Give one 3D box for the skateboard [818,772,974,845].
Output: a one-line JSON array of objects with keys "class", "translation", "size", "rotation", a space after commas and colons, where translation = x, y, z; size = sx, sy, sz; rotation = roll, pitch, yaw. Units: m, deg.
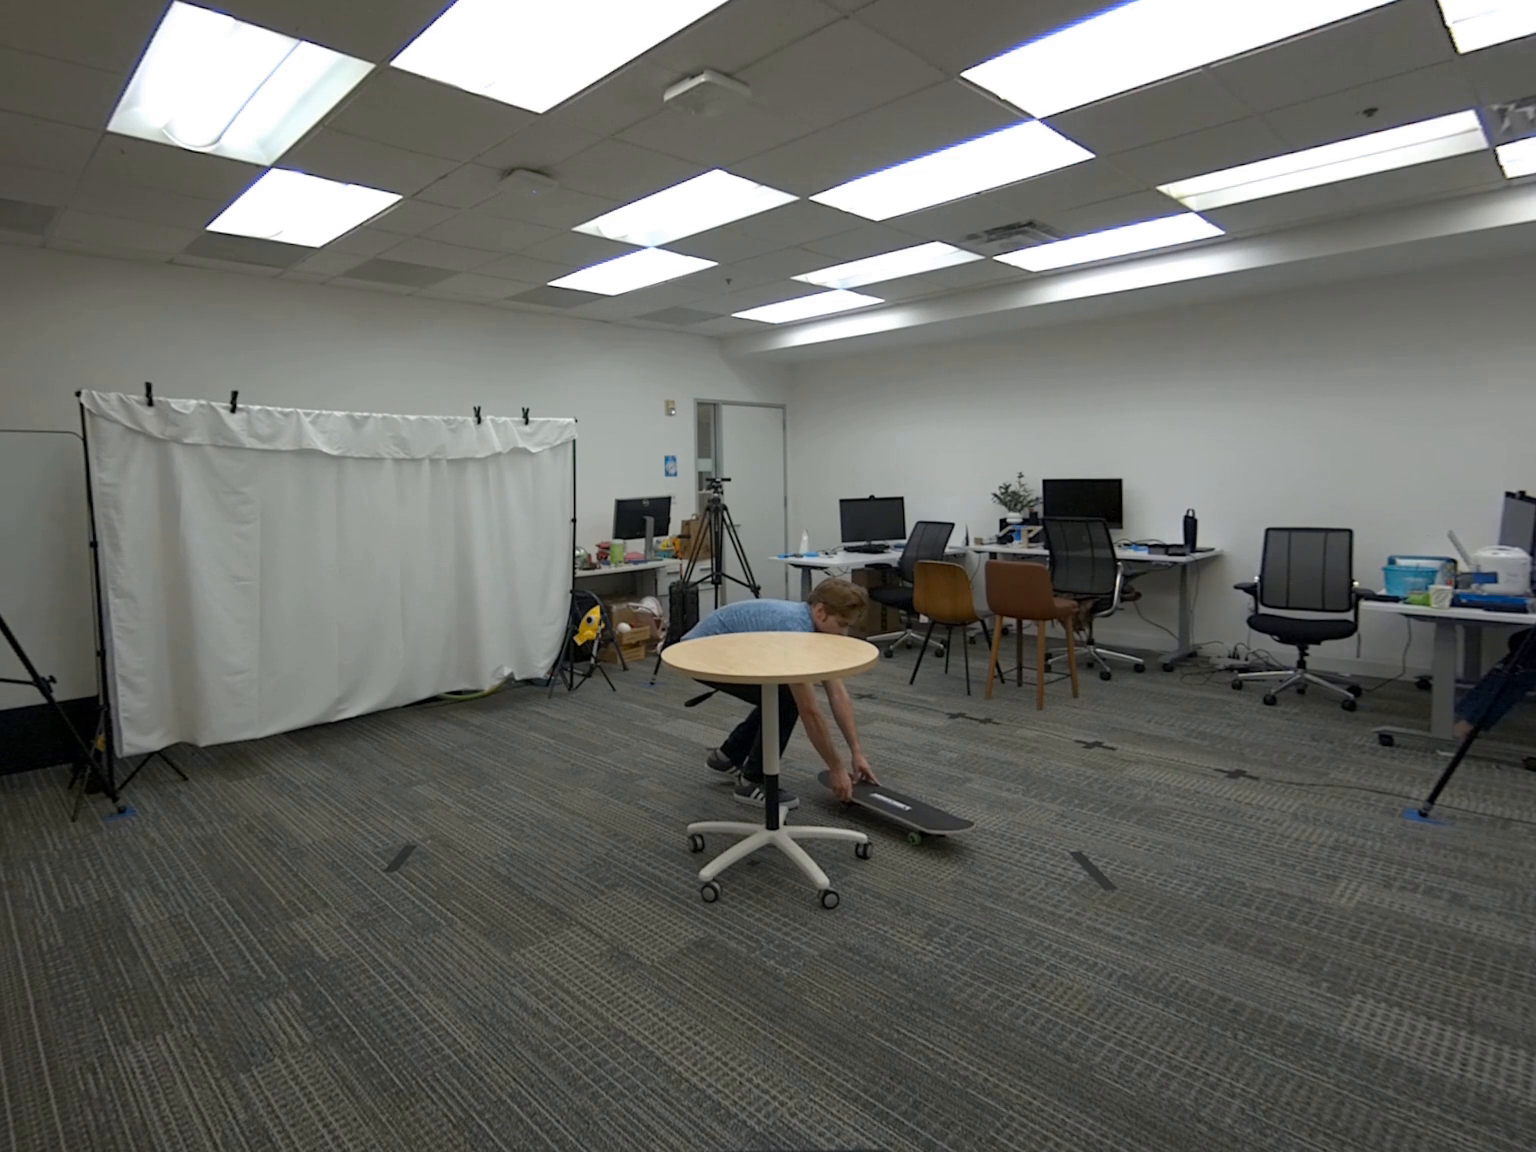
[{"class": "skateboard", "translation": [0.491, 0.938, 3.436], "size": [0.188, 0.110, 0.809], "rotation": [-5, 7, -36]}]
